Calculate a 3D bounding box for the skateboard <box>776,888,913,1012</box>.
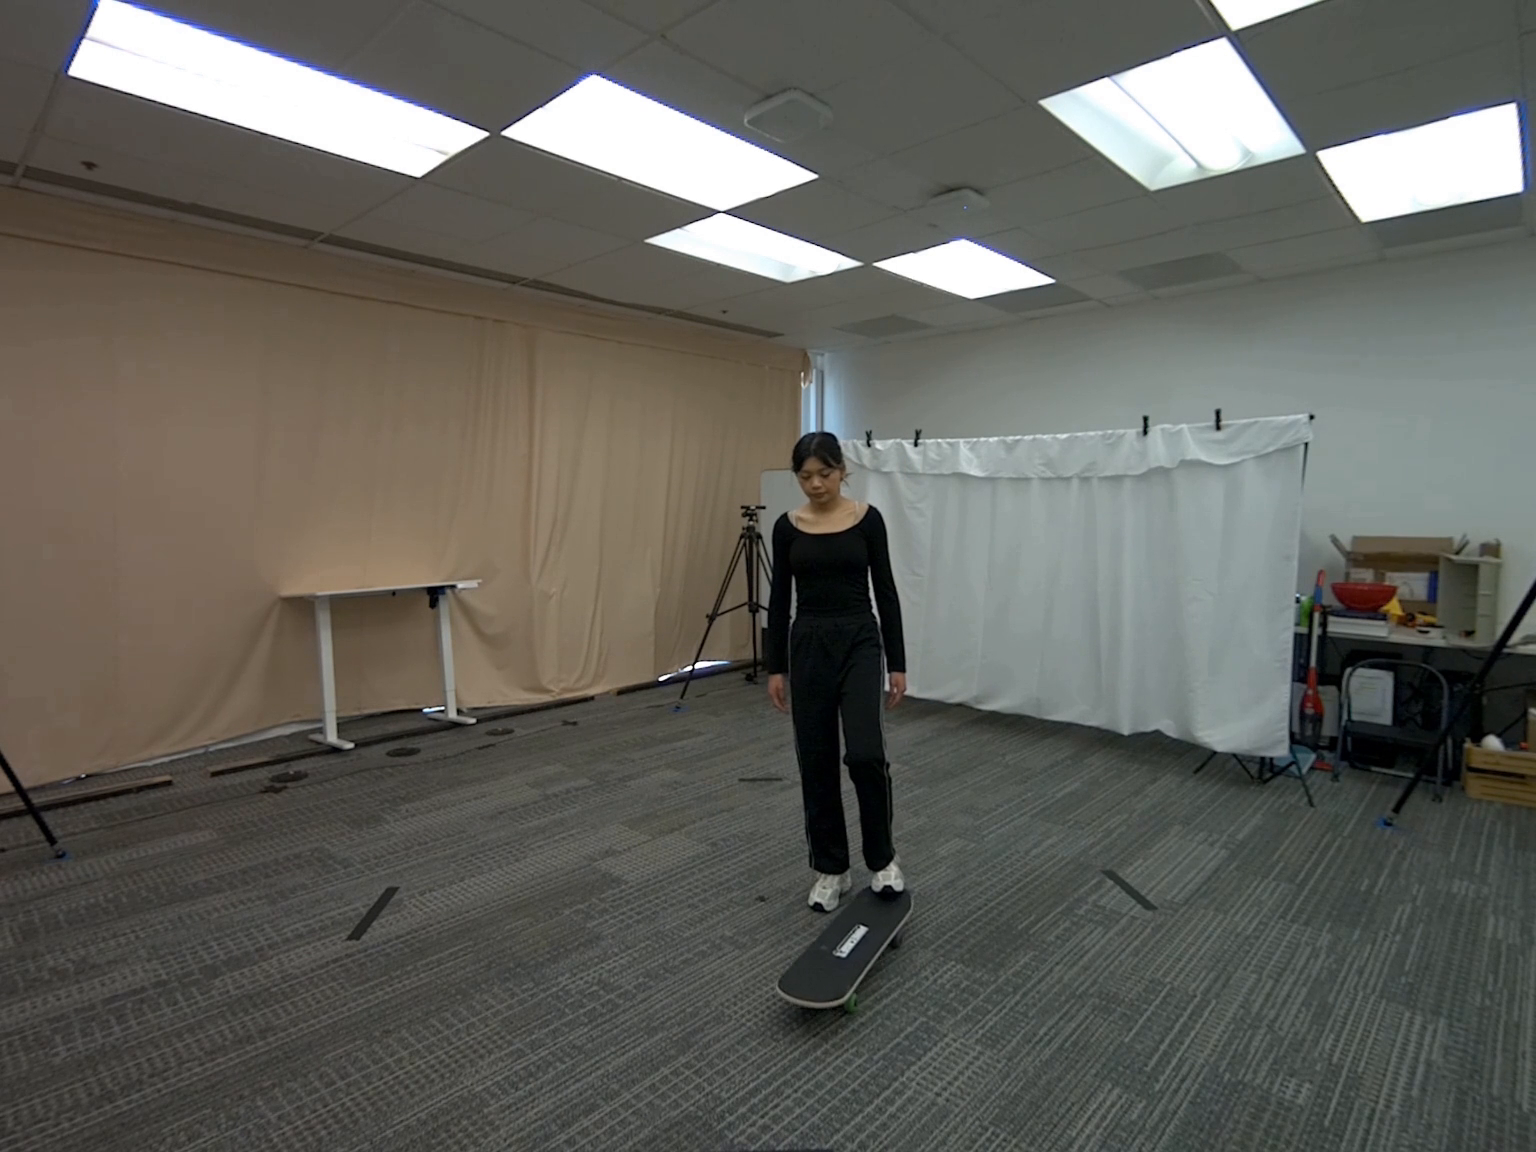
[{"bbox_3d":[0.249,1.131,2.516,0.199,0.110,0.765,2,4,28],"label":"skateboard"}]
